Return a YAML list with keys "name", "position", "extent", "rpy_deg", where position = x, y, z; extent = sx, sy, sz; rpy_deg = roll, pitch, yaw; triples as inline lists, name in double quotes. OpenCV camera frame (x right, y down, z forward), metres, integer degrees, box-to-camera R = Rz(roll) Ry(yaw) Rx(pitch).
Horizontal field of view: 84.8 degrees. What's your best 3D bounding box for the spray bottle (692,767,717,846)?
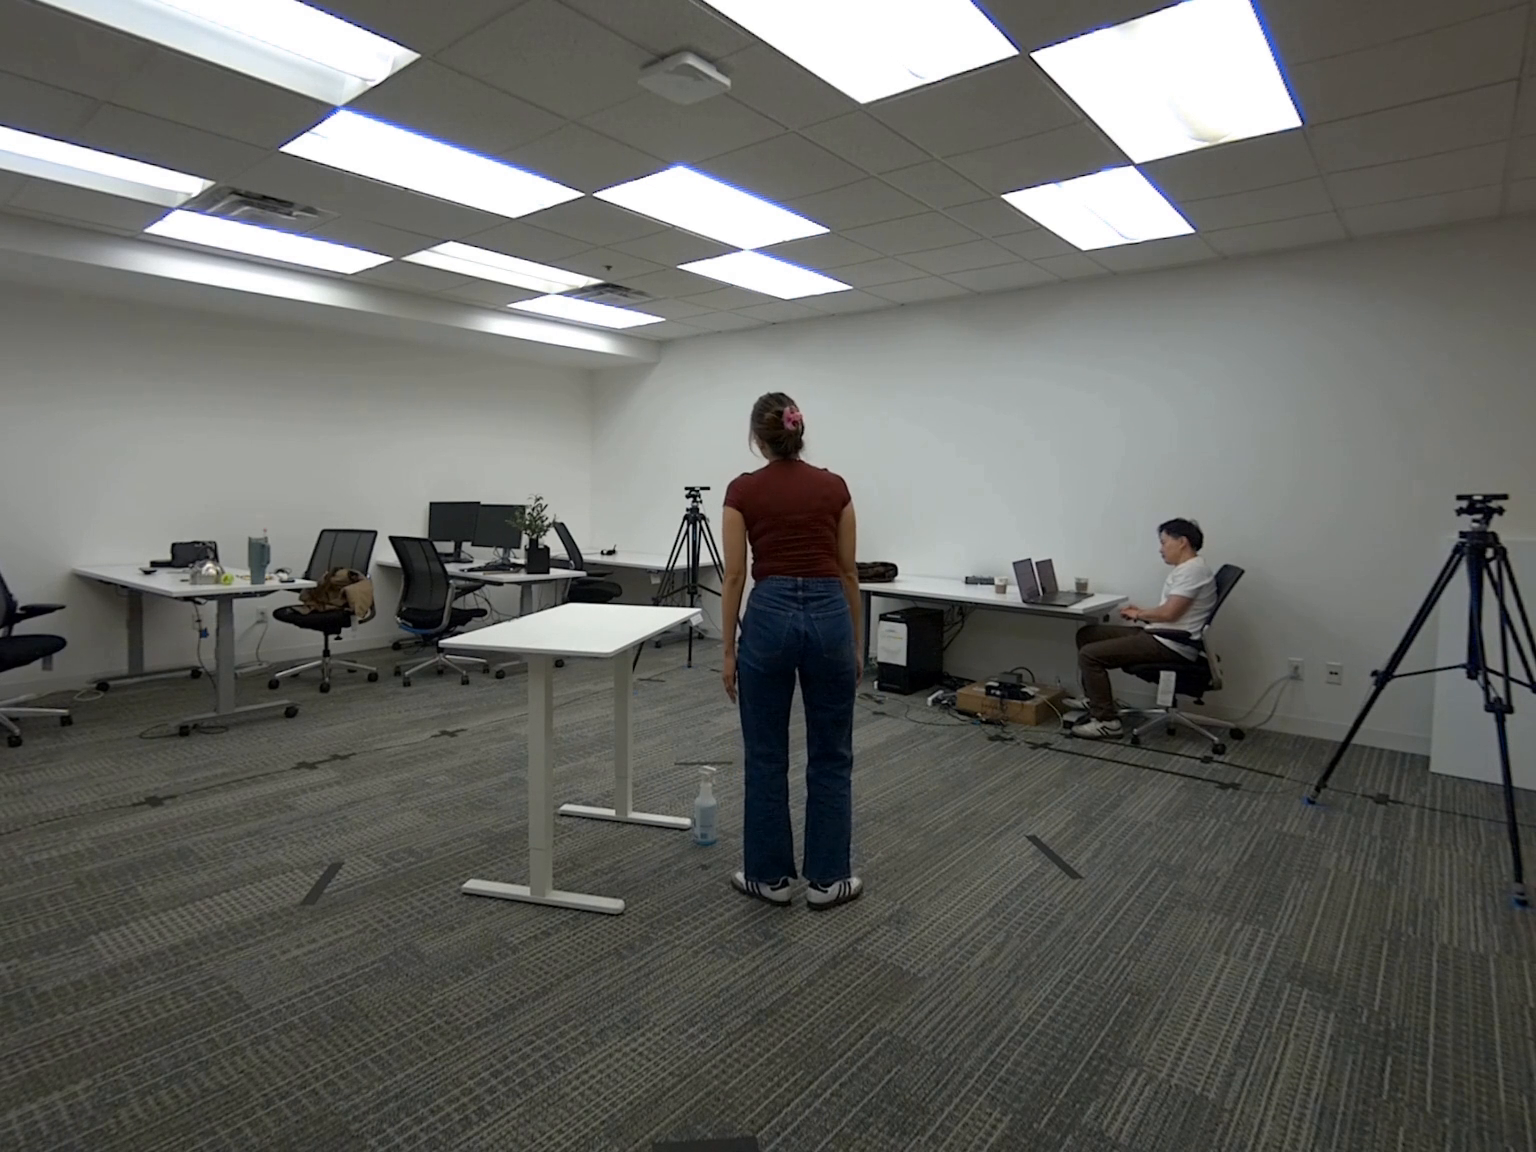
- name: "spray bottle"
  position: [-0.254, 0.893, 3.344]
  extent: [0.085, 0.296, 0.092]
  rpy_deg: [0, 4, -20]
